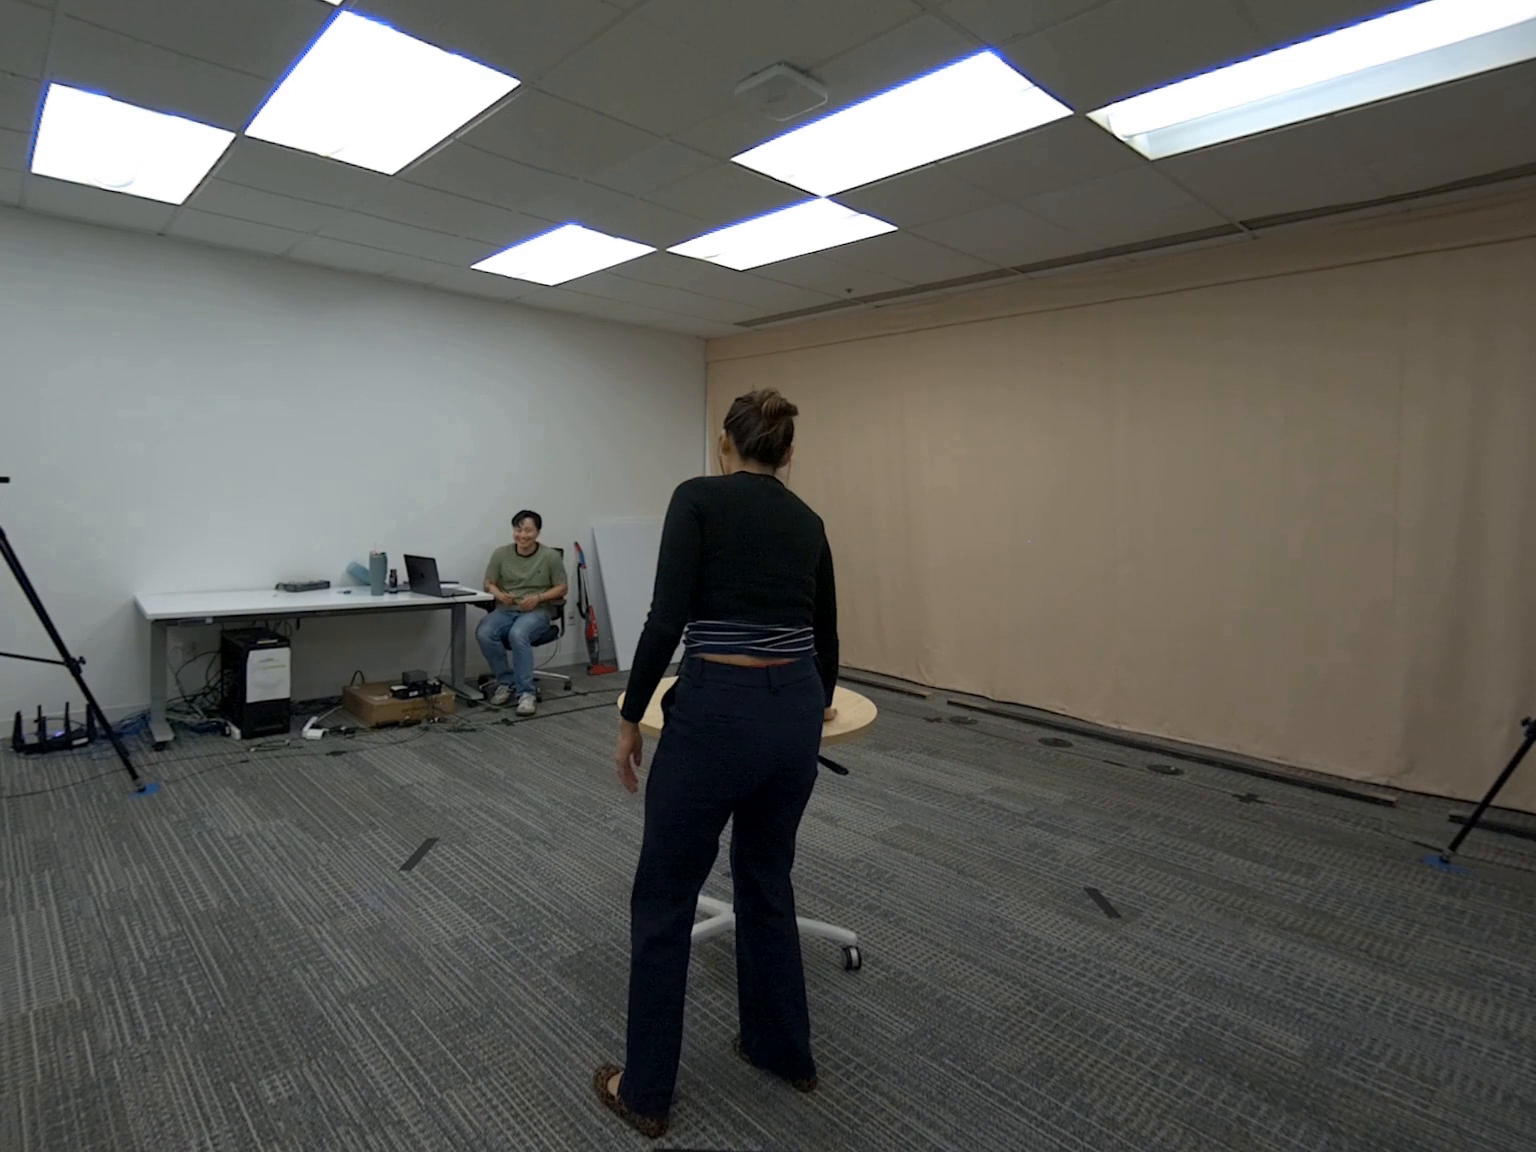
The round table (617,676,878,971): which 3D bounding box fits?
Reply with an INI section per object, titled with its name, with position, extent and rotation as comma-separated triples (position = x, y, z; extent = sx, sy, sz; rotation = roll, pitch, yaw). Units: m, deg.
[round table]
position = -0.079, 0.773, 2.527
extent = 0.763, 0.791, 0.767
rotation = 2, 5, -1
